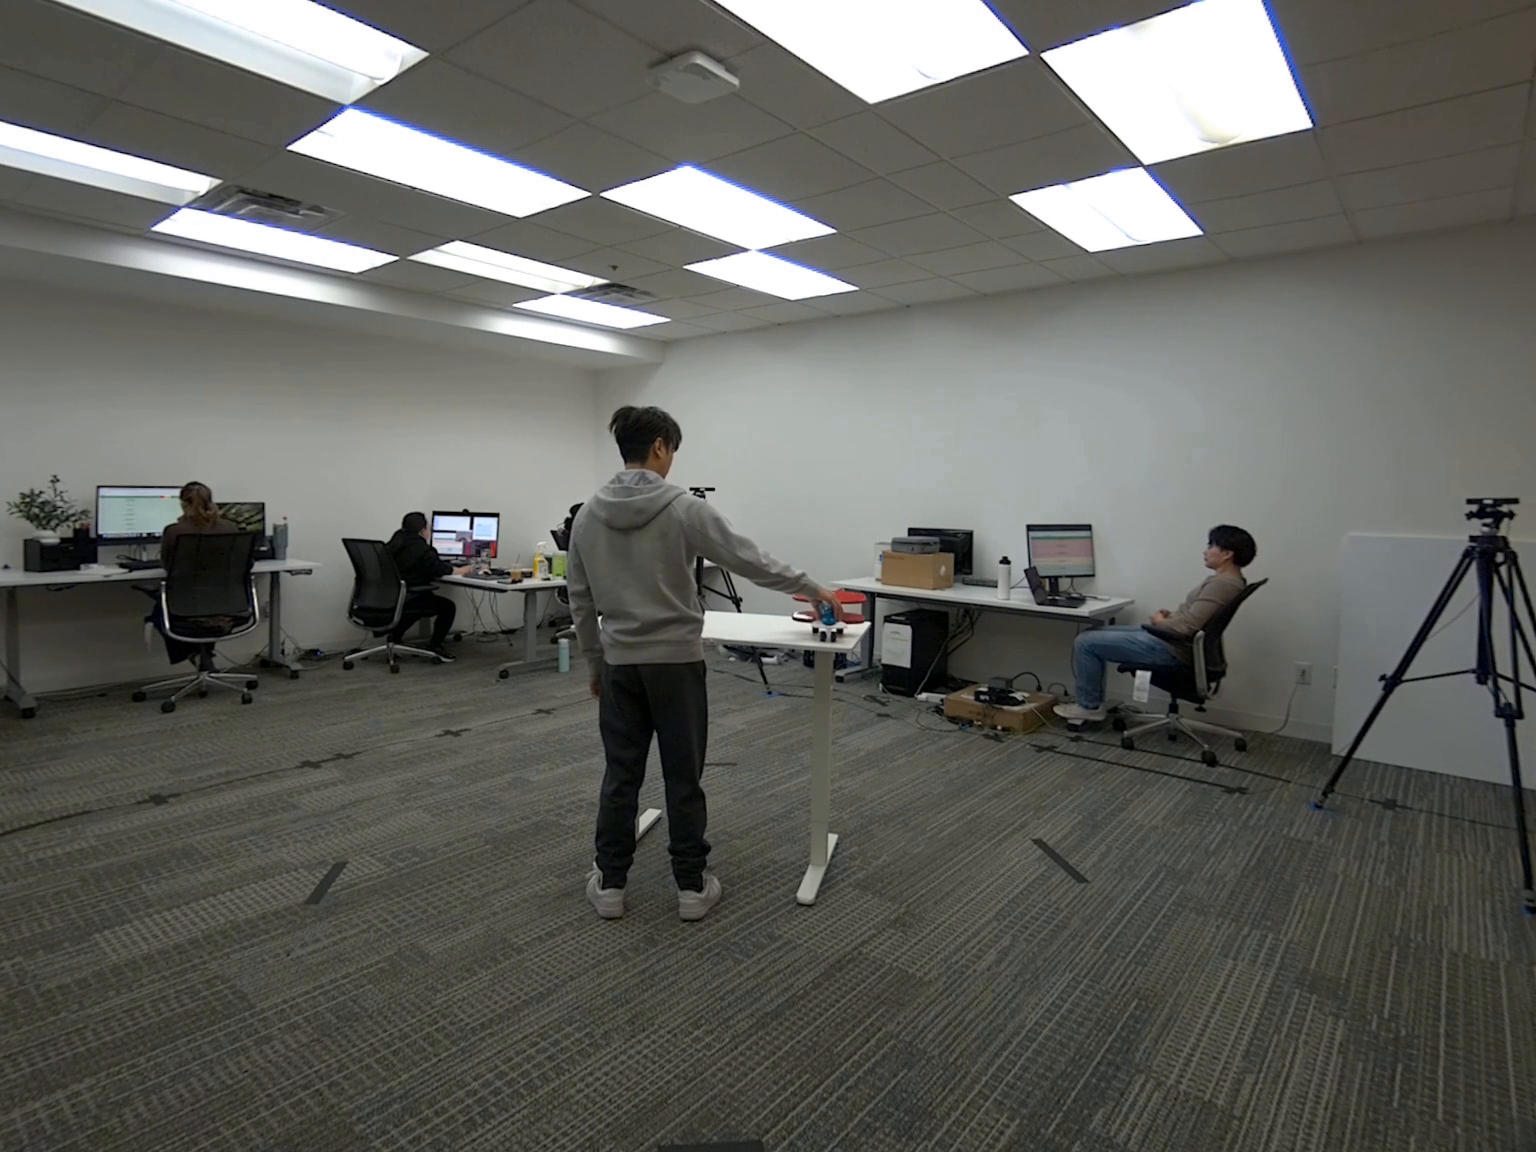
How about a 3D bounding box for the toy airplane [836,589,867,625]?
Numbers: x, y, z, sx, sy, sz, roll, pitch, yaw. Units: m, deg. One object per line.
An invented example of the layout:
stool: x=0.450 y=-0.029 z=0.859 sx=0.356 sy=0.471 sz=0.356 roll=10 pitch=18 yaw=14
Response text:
toy airplane: x=0.226 y=0.132 z=2.958 sx=0.245 sy=0.156 sz=0.266 roll=-3 pitch=5 yaw=-26
